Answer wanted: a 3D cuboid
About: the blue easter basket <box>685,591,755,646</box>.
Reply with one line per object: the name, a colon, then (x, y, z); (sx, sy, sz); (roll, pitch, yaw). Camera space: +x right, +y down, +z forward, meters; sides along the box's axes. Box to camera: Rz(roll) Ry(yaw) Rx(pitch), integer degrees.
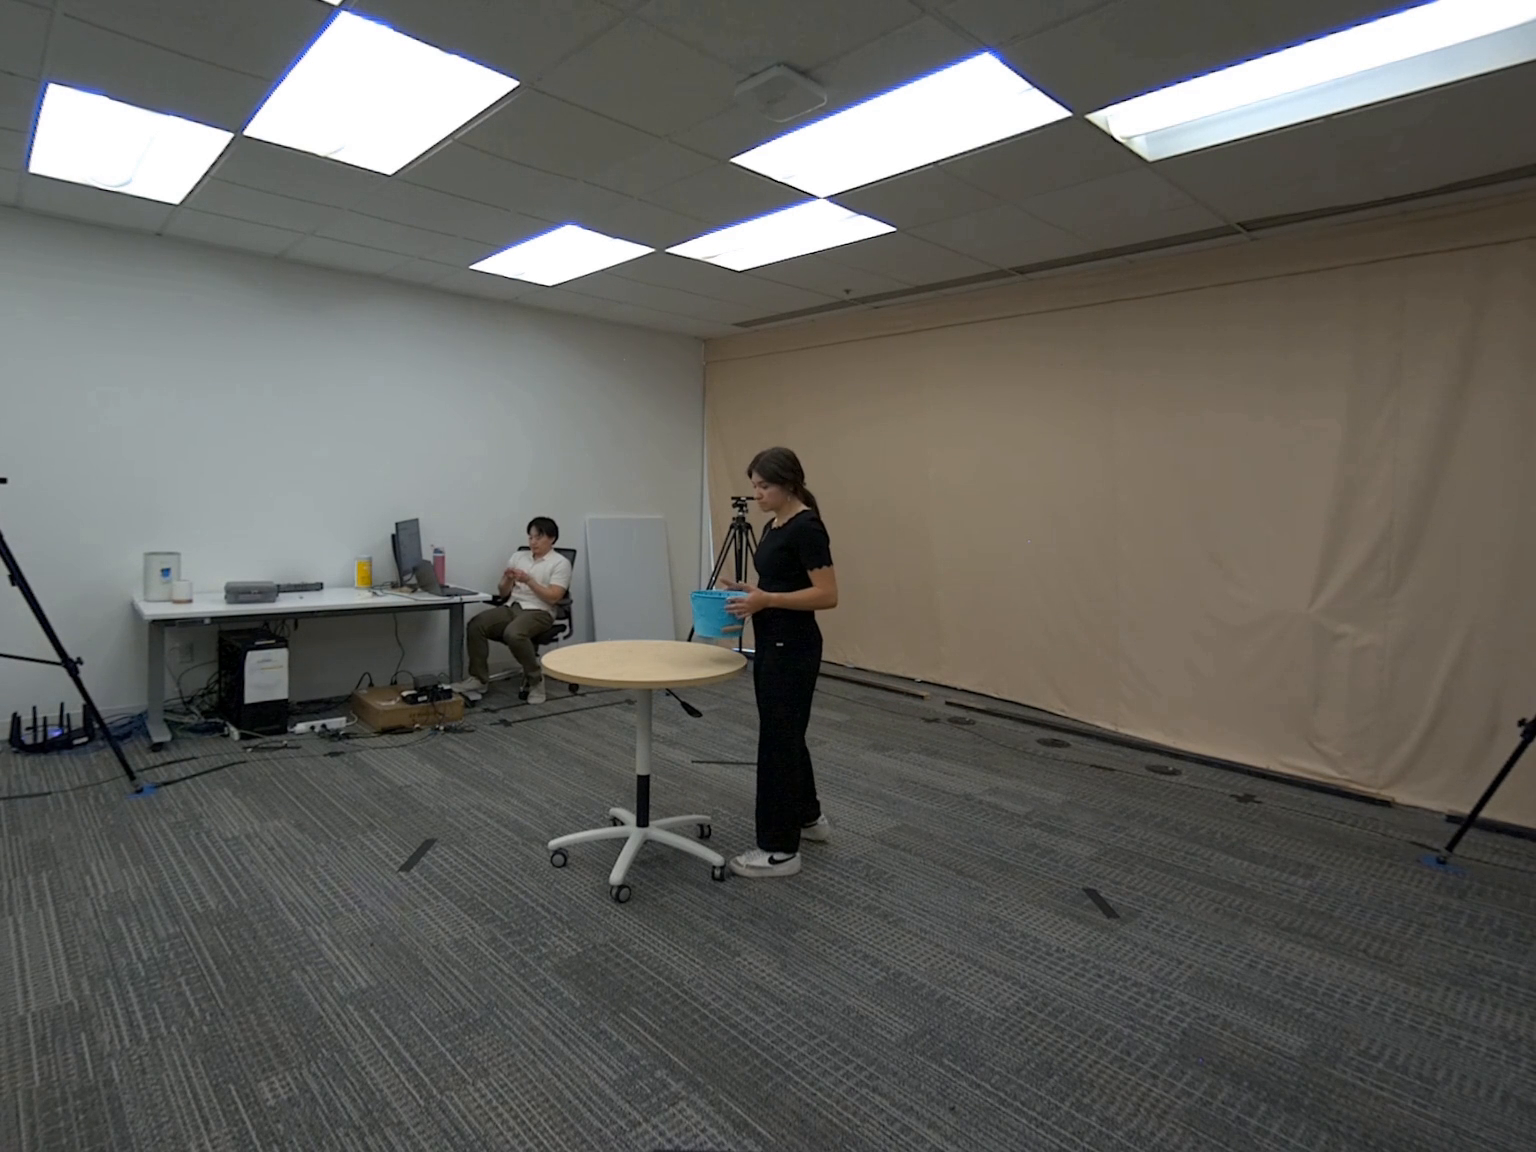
blue easter basket: (-0.175, 0.150, 3.115); (0.243, 0.155, 0.244); (1, 5, -1)
